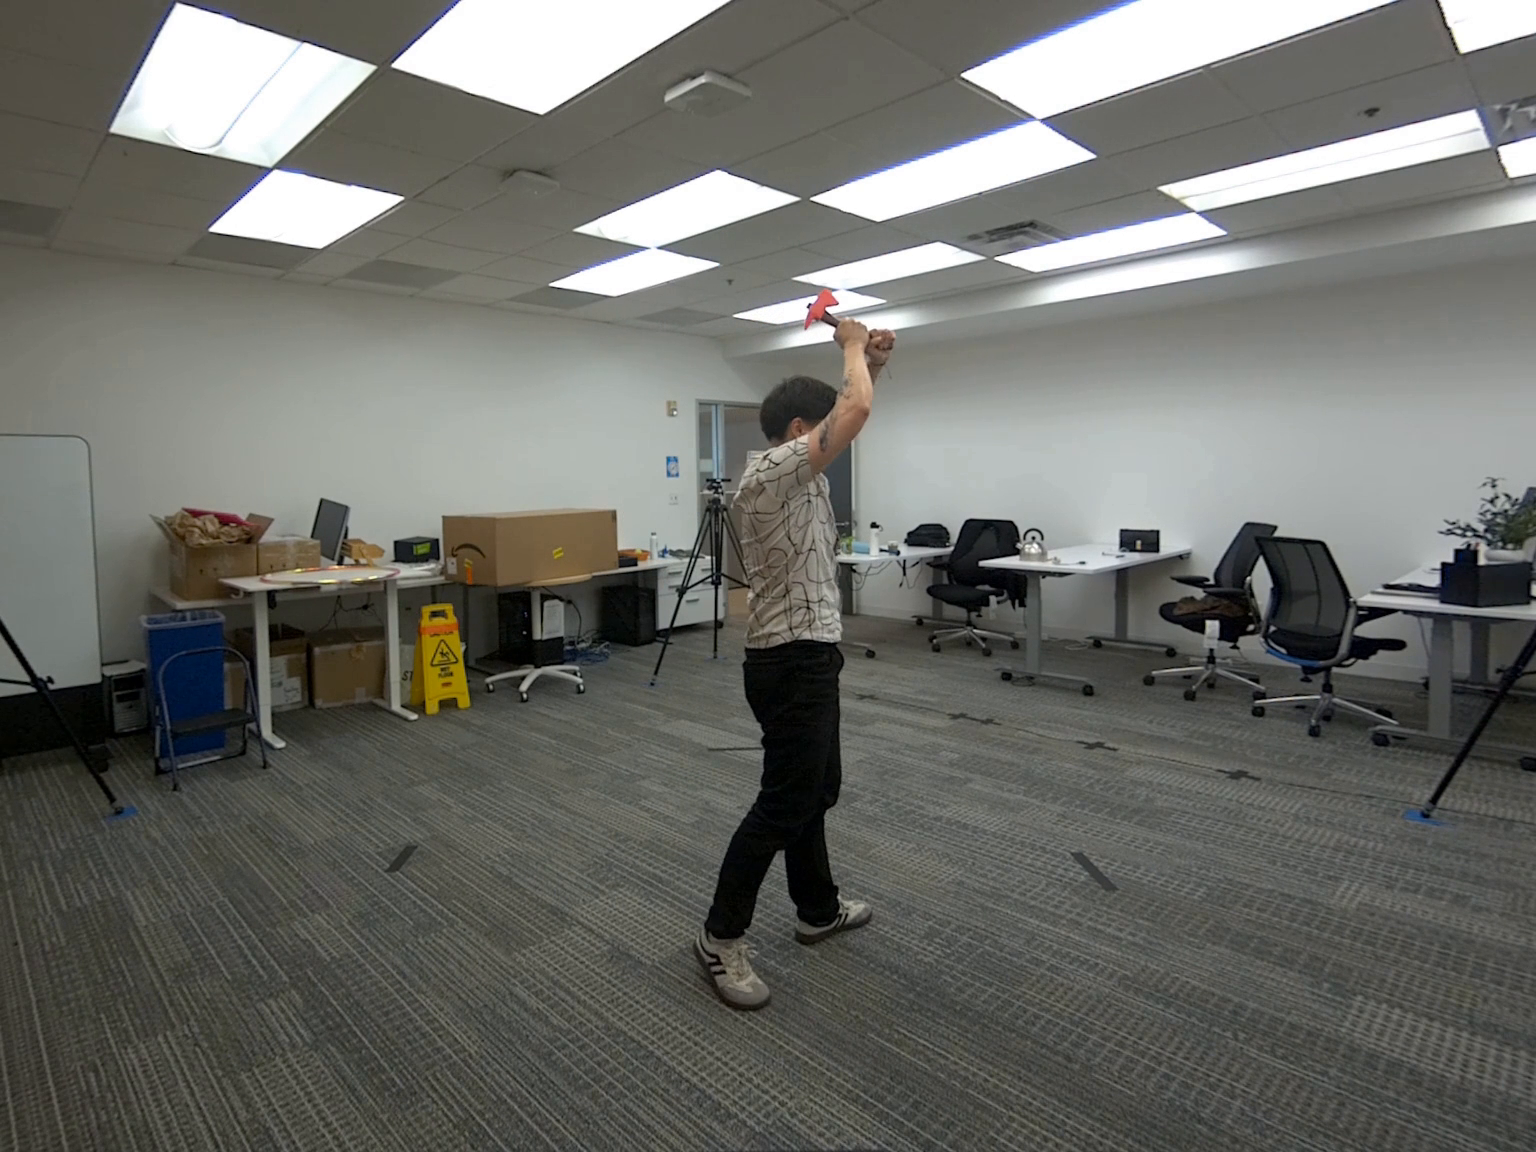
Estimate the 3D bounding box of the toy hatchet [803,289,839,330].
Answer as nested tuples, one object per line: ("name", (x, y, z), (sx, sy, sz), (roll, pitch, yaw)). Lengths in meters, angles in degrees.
("toy hatchet", (0.243, -0.731, 2.392), (0.268, 0.131, 0.030), (10, -5, -7))
